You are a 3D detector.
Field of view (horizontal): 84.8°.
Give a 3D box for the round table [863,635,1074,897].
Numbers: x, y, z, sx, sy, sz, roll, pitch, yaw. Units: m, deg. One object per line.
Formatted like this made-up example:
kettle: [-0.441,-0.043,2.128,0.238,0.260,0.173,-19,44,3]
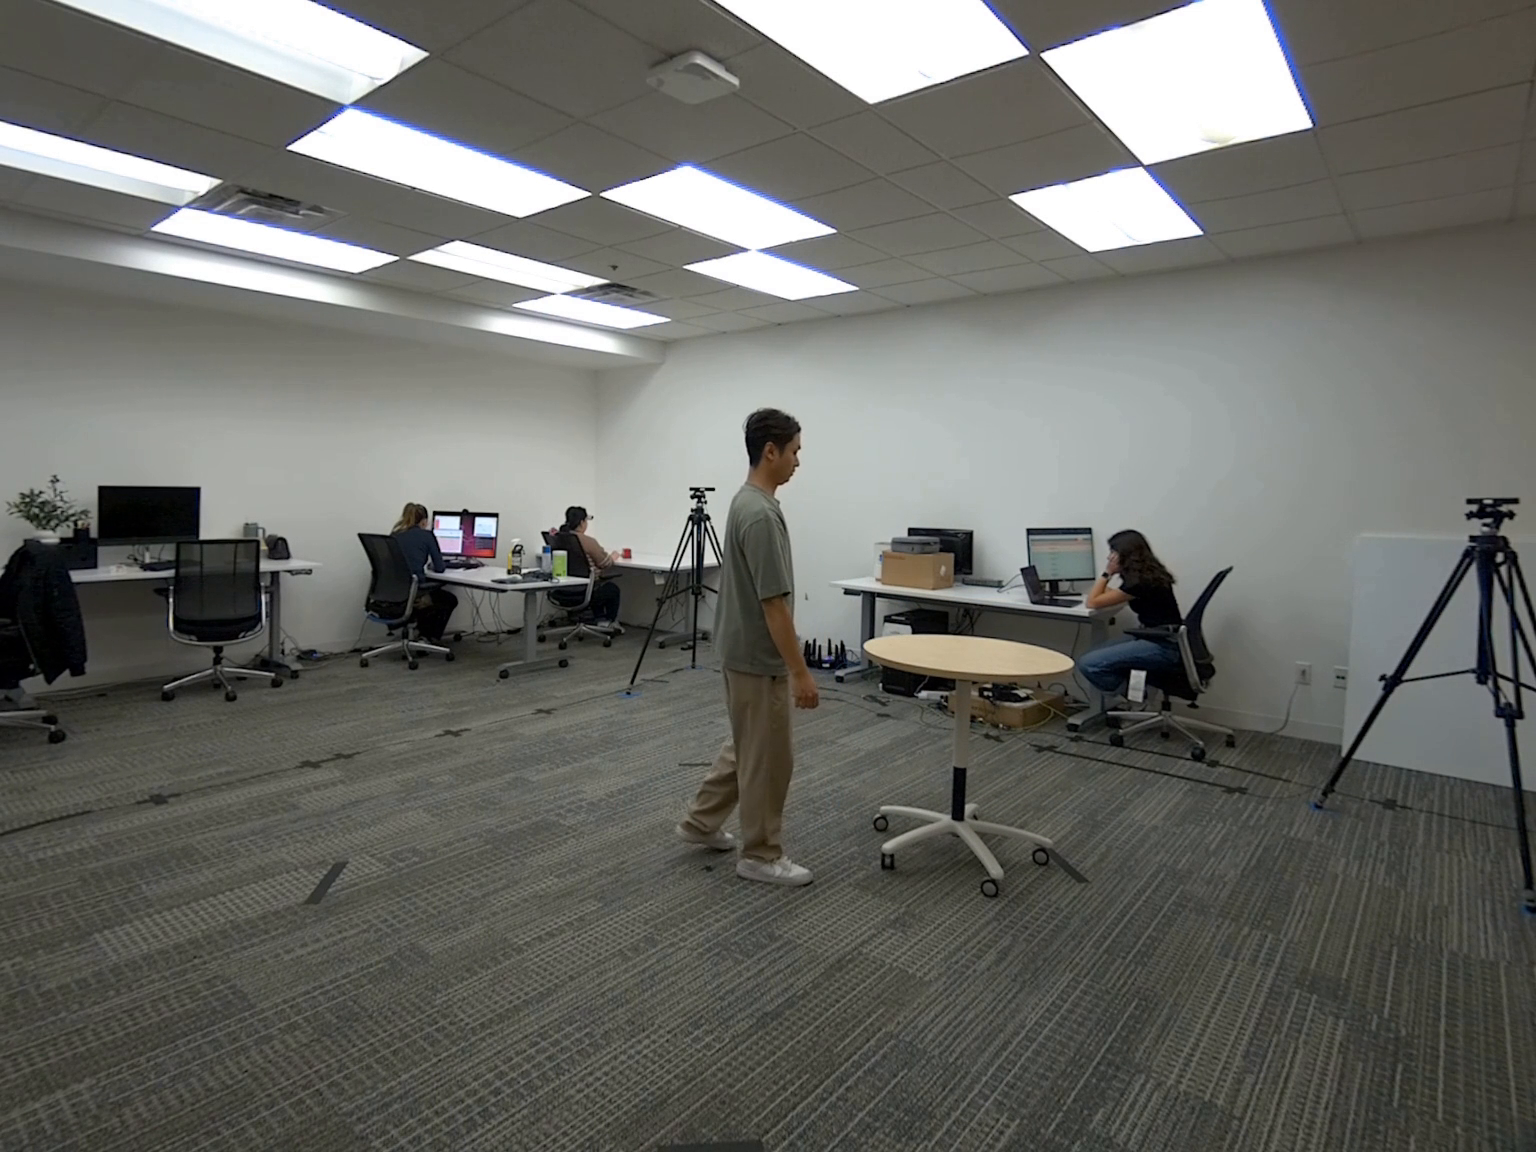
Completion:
round table: [0.728,0.683,3.247,0.784,0.784,0.789,2,4,-2]
